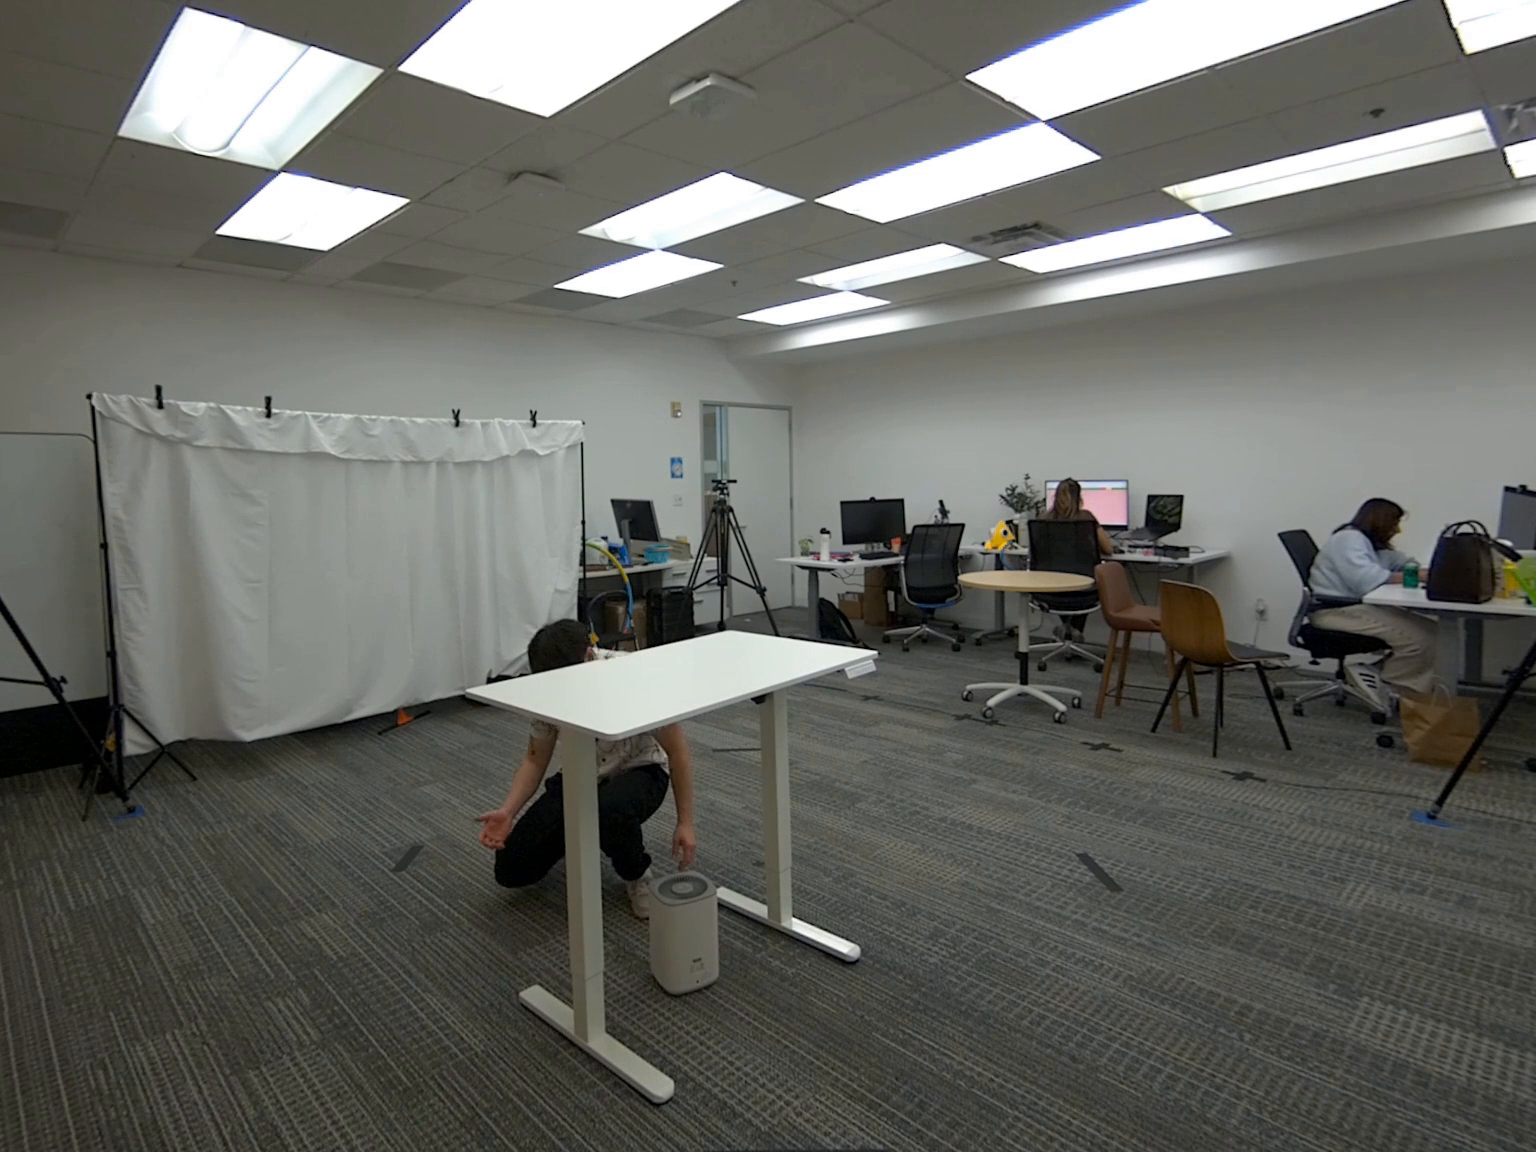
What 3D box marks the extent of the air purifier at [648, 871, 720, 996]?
[{"bbox_3d":[-0.235,1.005,2.397,0.167,0.264,0.176,-4,5,-31],"label":"air purifier"}]
